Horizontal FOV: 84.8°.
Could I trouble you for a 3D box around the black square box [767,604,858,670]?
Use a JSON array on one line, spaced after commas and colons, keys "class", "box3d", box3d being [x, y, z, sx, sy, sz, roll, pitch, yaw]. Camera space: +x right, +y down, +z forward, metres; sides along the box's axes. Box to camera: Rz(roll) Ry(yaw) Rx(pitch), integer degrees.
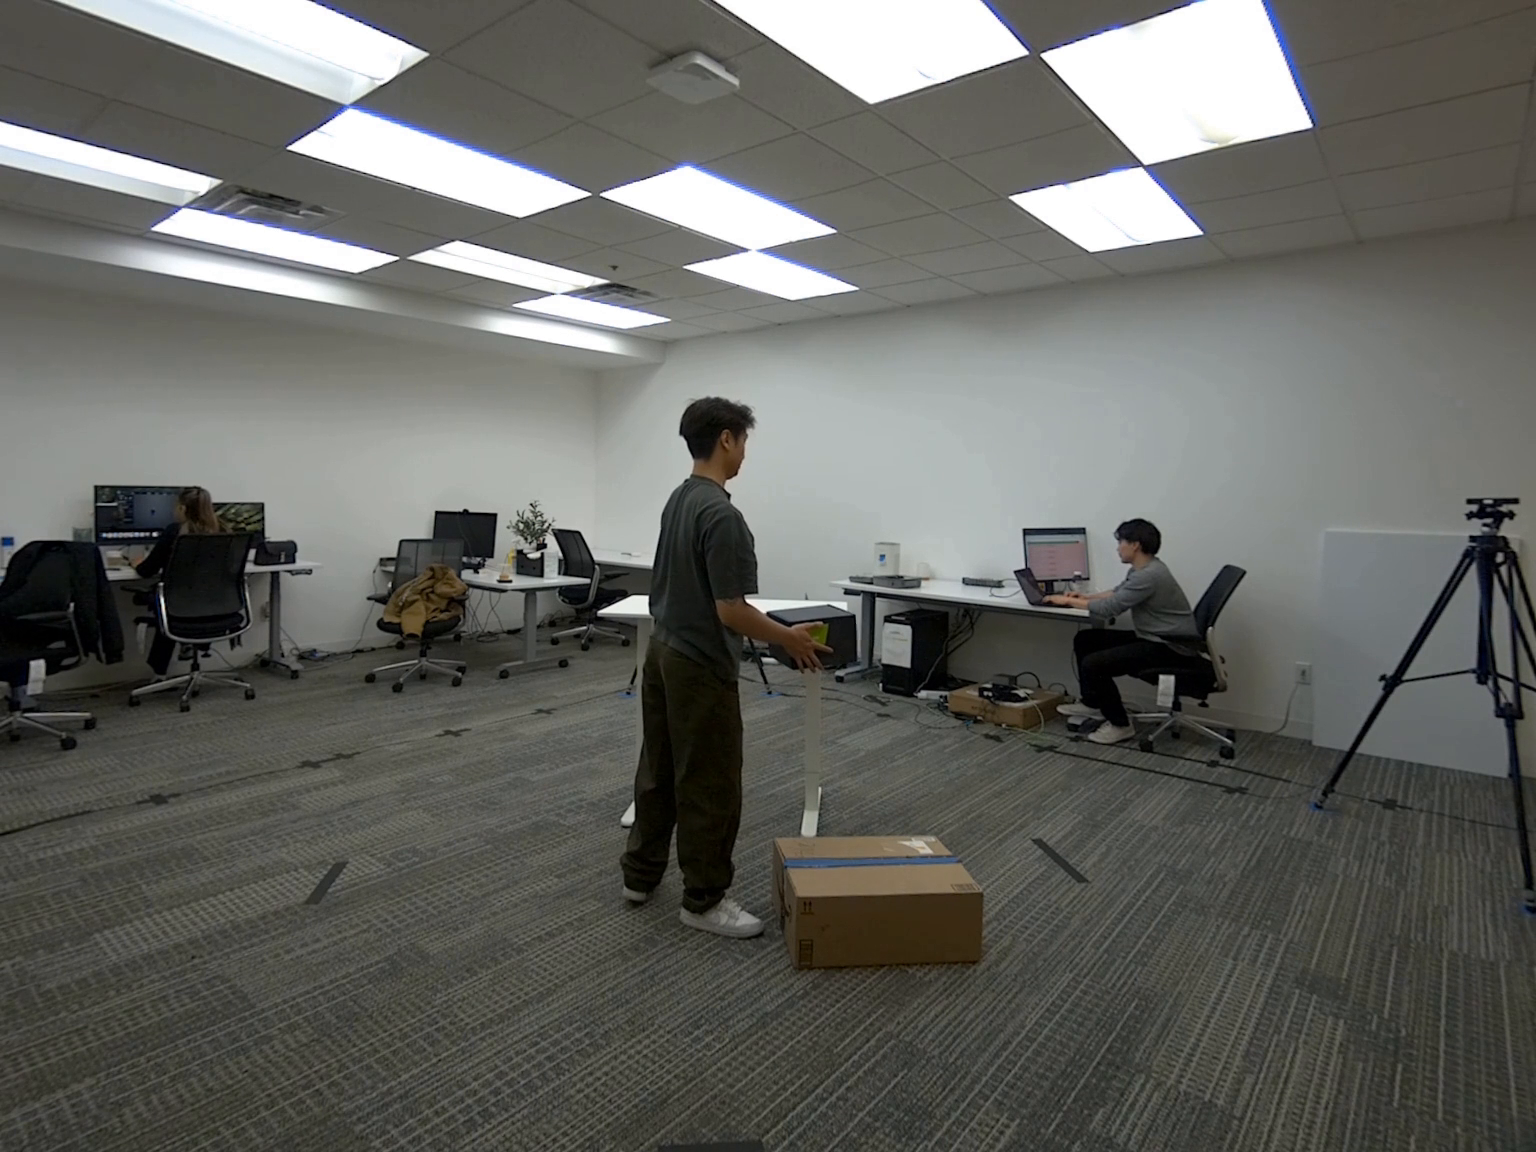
[{"class": "black square box", "box3d": [0.134, 0.197, 2.774, 0.224, 0.155, 0.222, -6, 8, -19]}]
